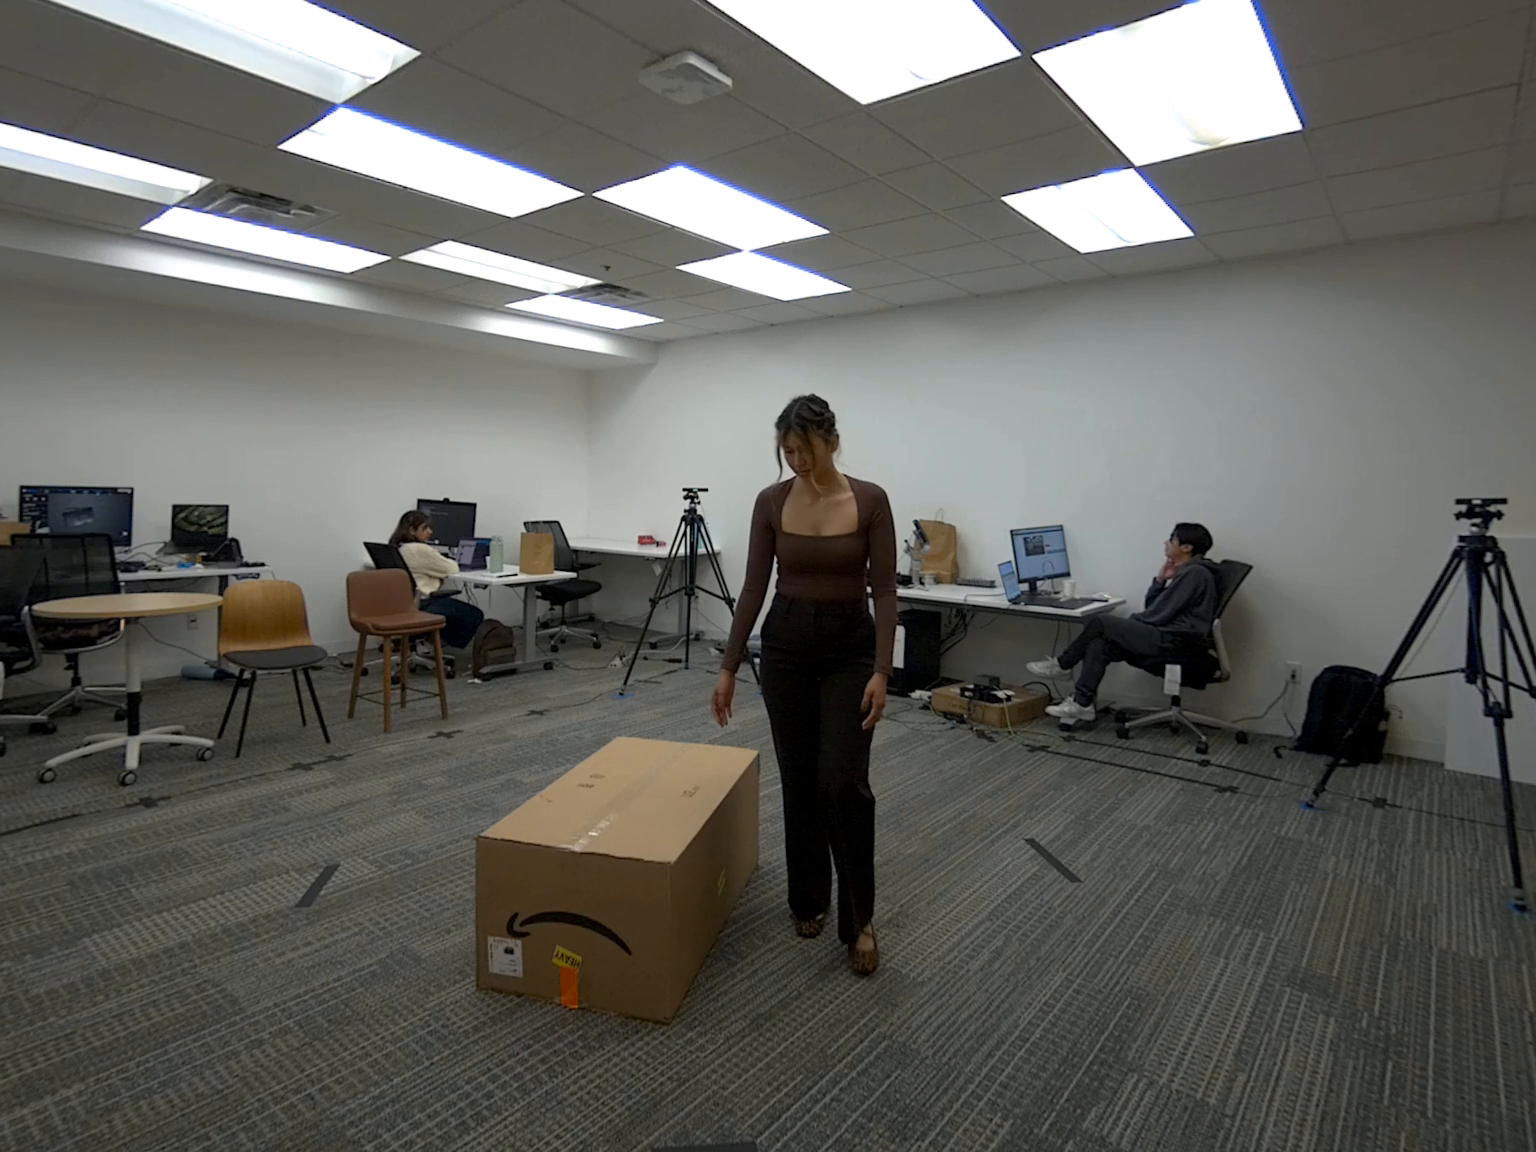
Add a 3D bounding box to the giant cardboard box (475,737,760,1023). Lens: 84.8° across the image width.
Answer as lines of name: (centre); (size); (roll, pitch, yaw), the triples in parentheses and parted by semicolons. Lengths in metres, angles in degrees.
giant cardboard box: (-0.429, 0.890, 2.746); (0.593, 0.445, 1.015); (3, 6, 13)
